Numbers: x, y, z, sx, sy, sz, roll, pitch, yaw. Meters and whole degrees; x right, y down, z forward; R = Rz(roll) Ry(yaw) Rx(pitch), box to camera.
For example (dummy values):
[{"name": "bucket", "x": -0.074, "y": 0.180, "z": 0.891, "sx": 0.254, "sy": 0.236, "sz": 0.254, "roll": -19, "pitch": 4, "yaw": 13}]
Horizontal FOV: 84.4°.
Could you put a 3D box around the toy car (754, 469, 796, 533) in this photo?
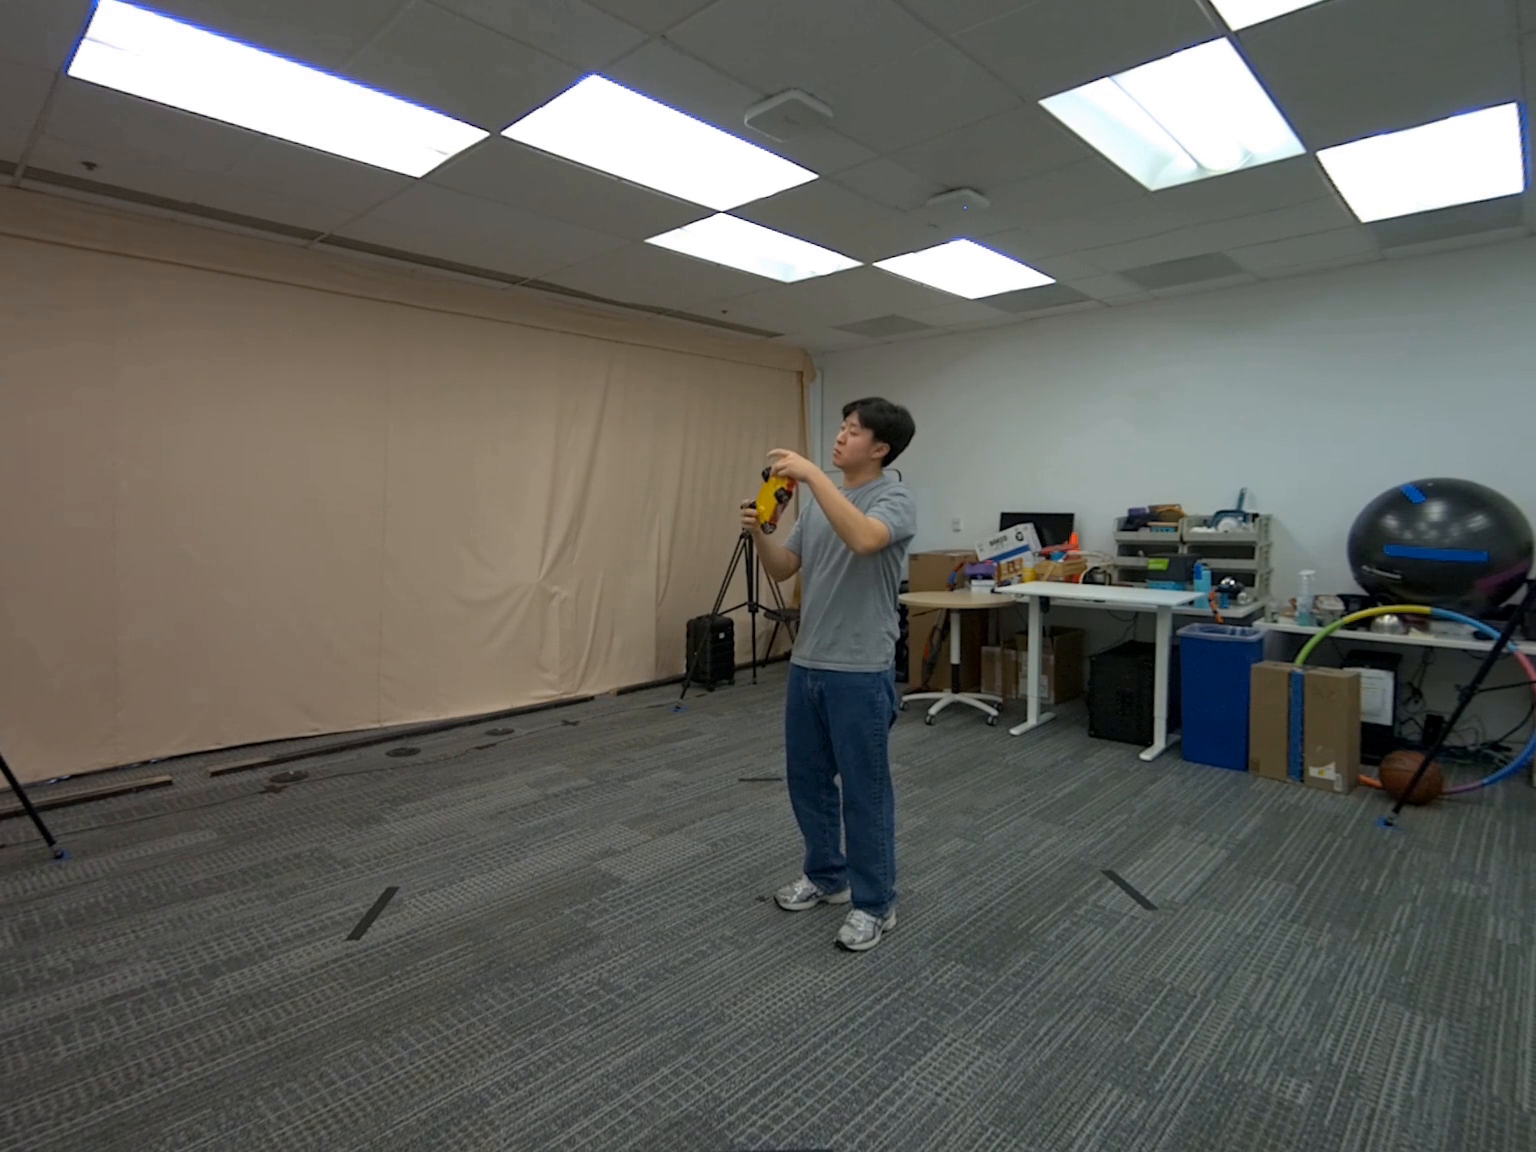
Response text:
[{"name": "toy car", "x": 0.024, "y": -0.248, "z": 2.564, "sx": 0.080, "sy": 0.134, "sz": 0.255, "roll": 1, "pitch": -43, "yaw": -38}]
